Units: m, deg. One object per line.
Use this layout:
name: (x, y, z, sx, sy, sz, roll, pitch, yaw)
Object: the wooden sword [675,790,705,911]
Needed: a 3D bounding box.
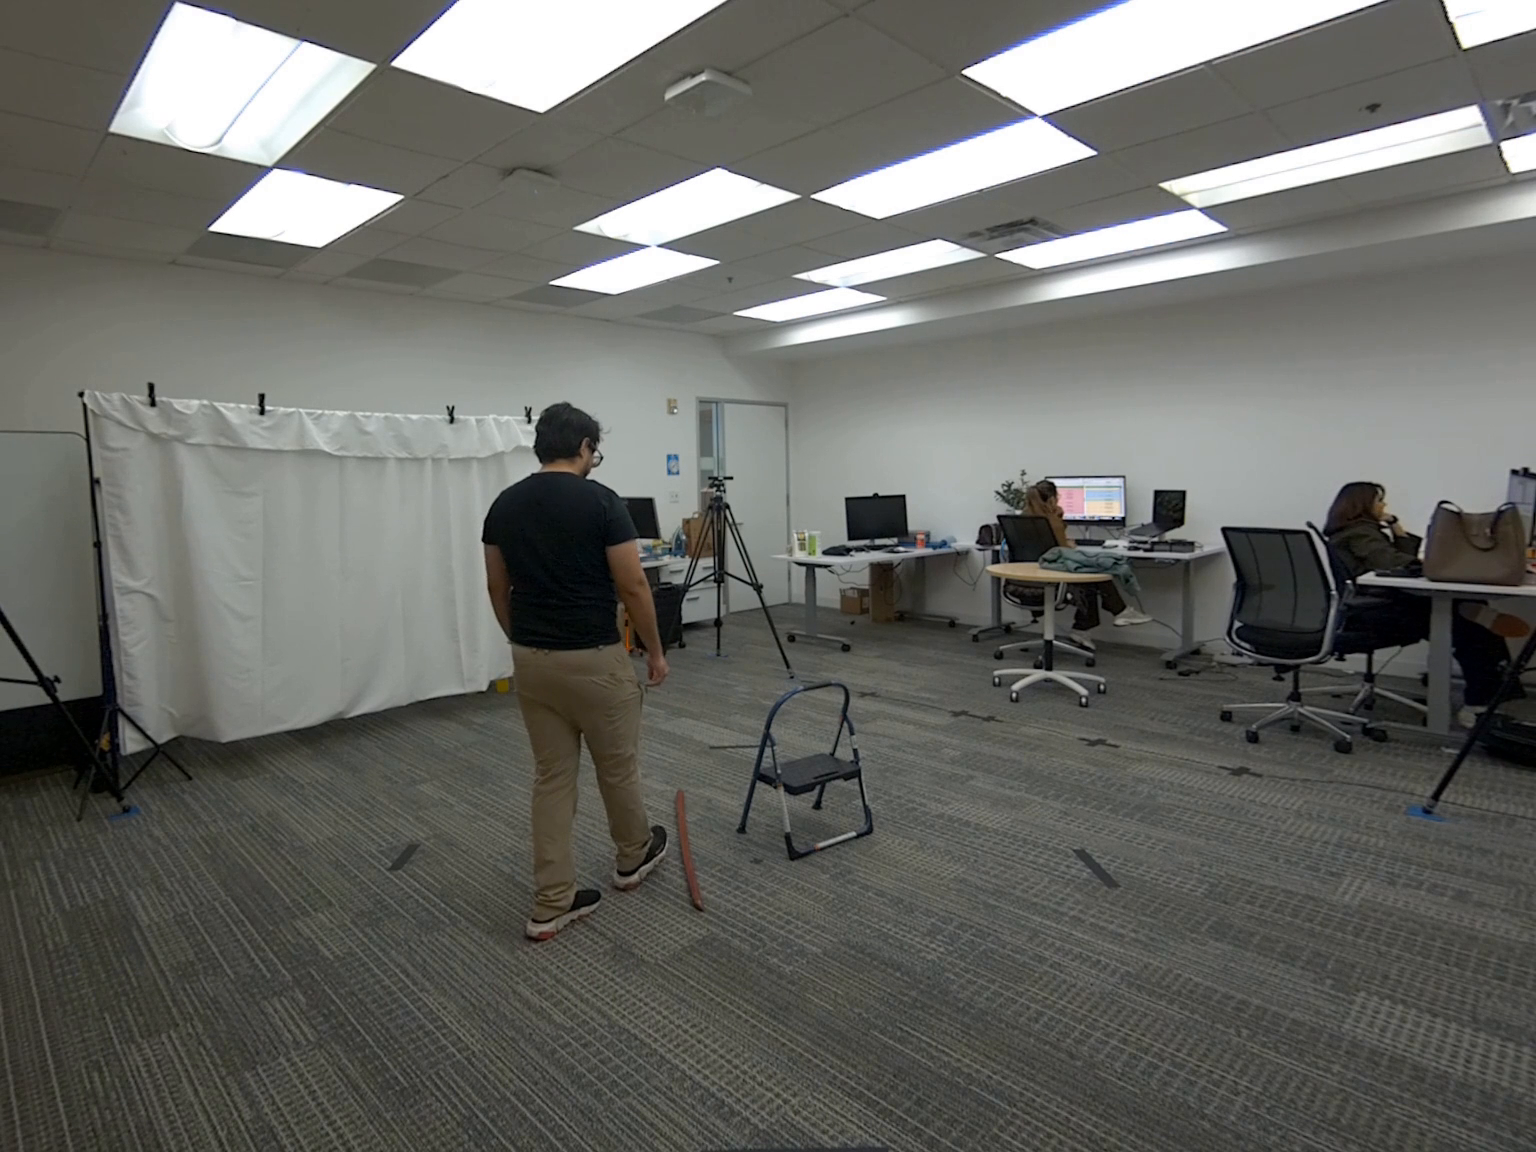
wooden sword: (-0.308, 0.997, 3.252, 0.051, 0.024, 1.036, 8, 5, -9)
